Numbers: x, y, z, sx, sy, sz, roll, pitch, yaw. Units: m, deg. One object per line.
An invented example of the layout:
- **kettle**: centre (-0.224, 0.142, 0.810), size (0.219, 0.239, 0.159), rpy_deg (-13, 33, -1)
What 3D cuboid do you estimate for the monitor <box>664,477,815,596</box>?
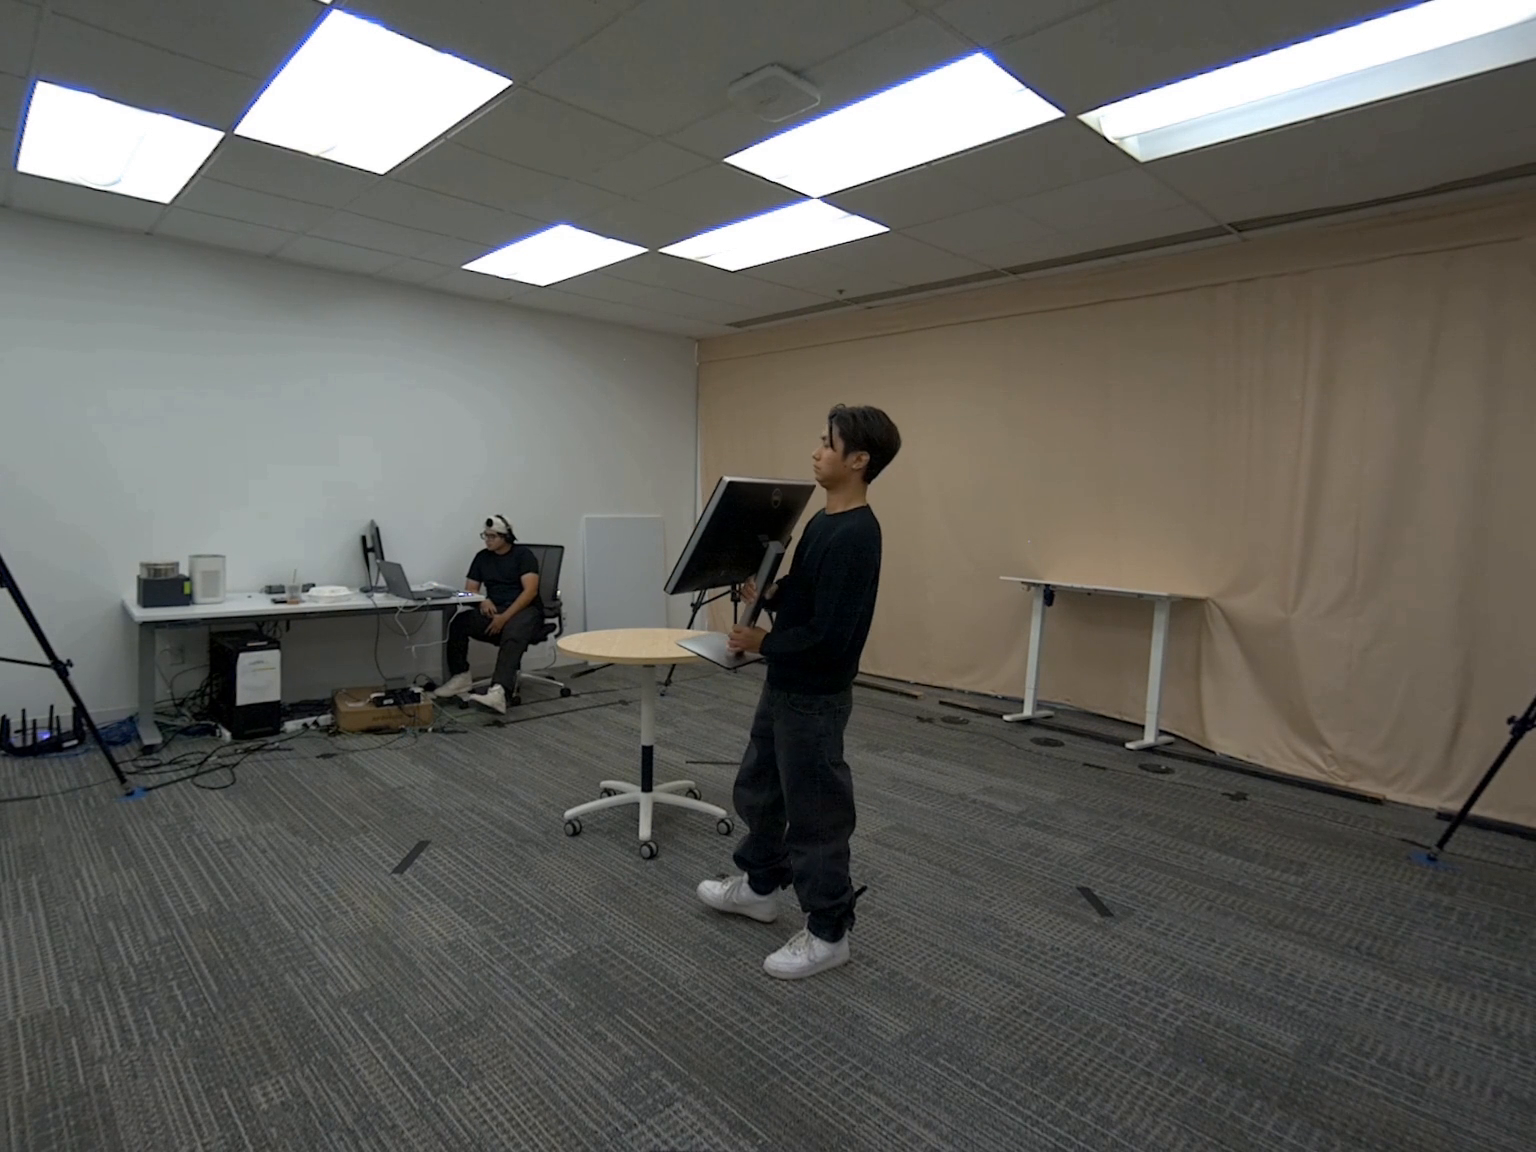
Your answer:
- **monitor**: centre (-0.071, -0.029, 2.476), size (0.179, 0.513, 0.520), rpy_deg (16, 11, 26)
